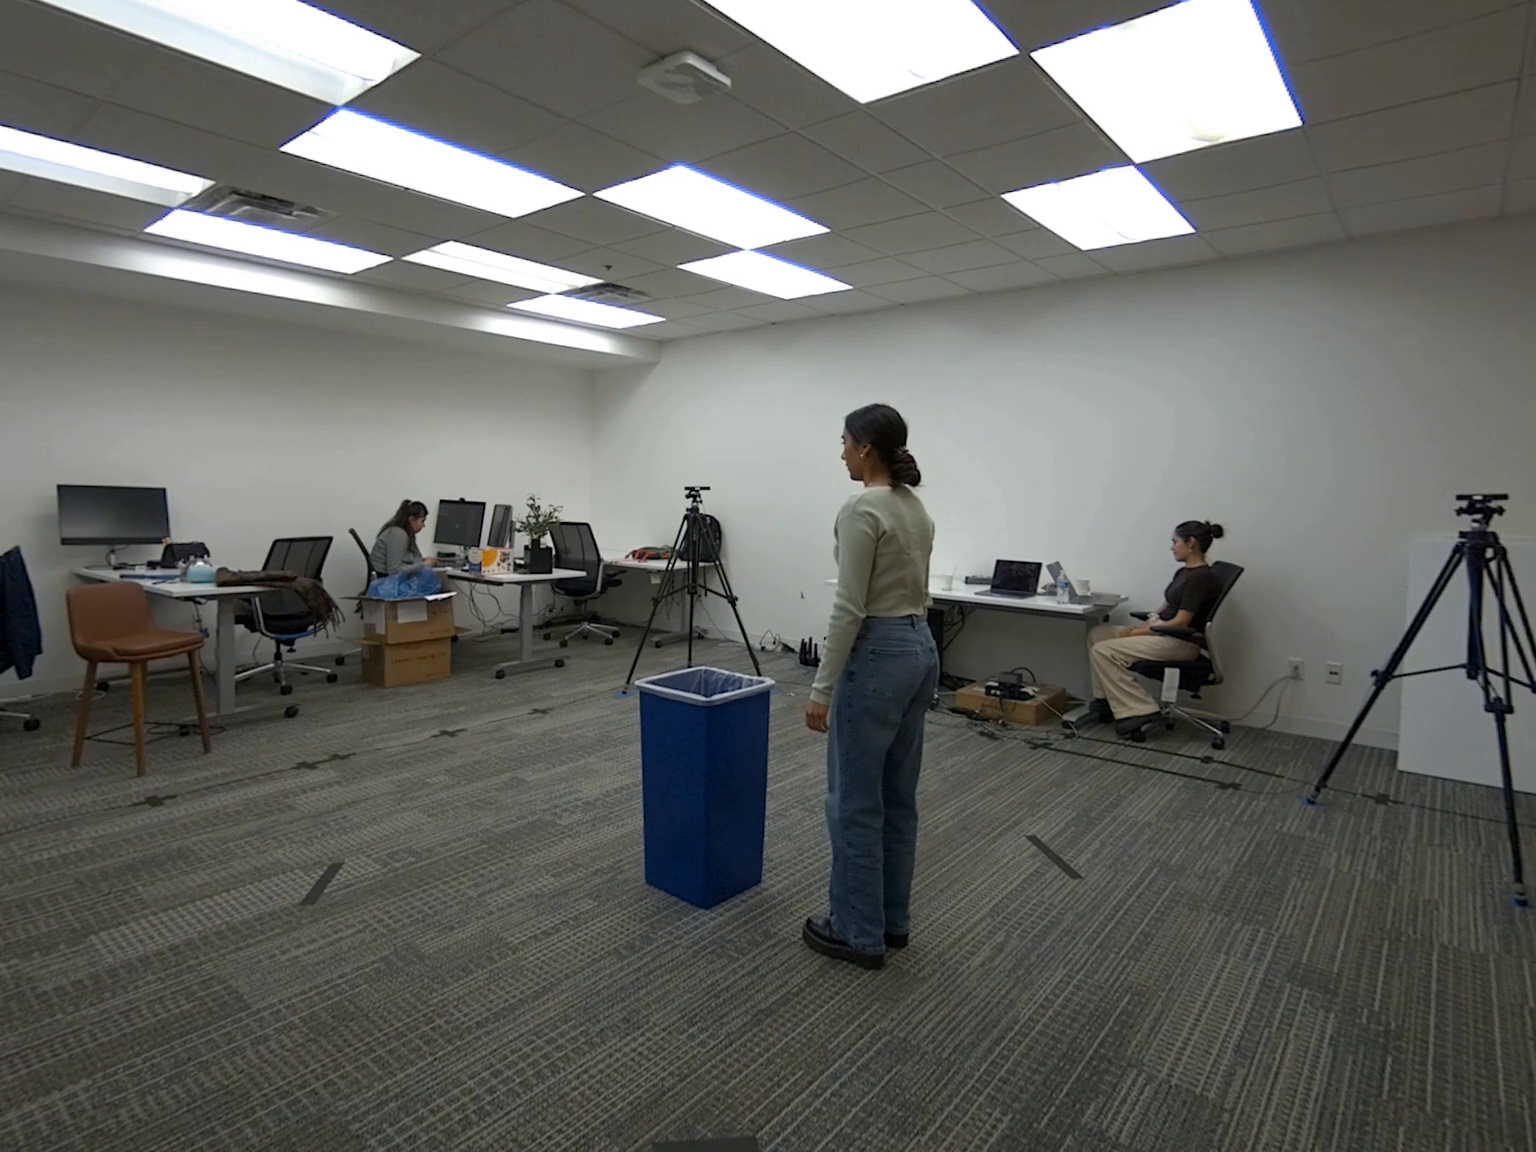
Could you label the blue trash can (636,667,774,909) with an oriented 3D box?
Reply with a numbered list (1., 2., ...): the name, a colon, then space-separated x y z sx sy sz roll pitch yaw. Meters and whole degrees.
1. blue trash can: -0.232 0.720 2.975 0.391 0.712 0.363 3 4 41
